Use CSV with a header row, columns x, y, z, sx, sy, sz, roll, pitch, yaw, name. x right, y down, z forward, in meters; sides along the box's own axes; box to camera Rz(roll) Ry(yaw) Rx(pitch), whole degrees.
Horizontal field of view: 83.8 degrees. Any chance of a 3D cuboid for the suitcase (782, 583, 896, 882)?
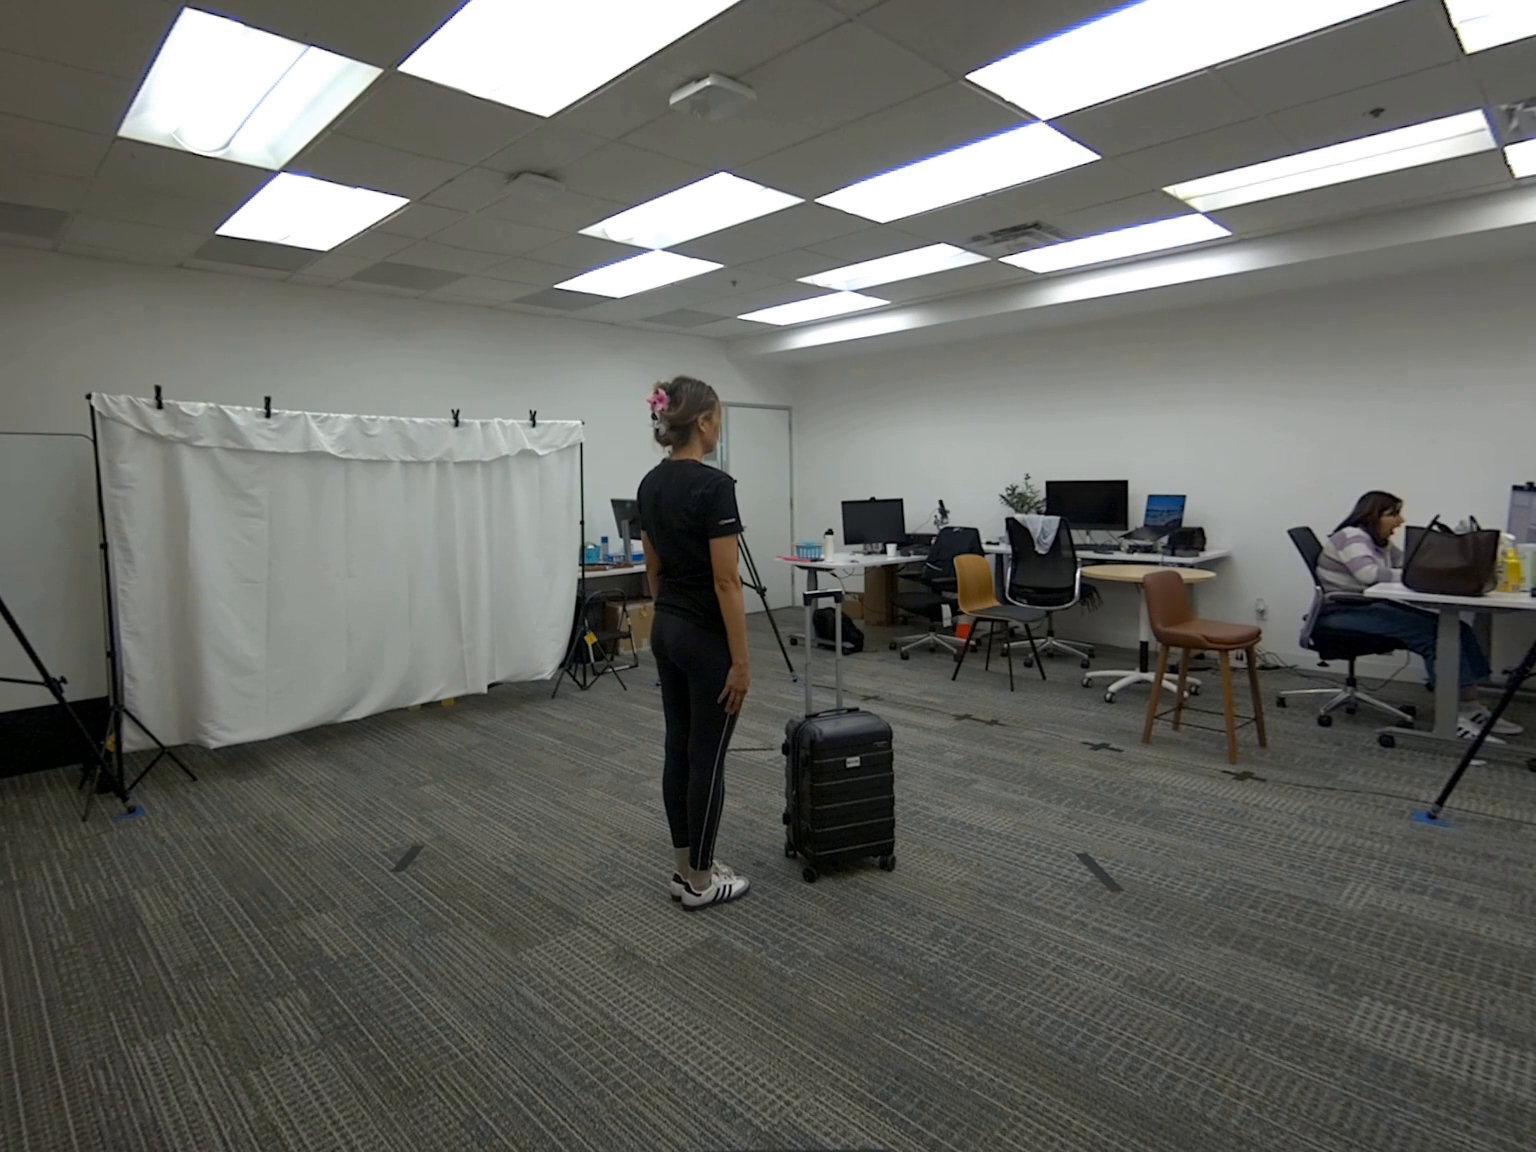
x,y,z,sx,sy,sz,roll,pitch,yaw,name
0.258,0.572,3.086,0.378,0.974,0.262,-3,5,-18,suitcase
